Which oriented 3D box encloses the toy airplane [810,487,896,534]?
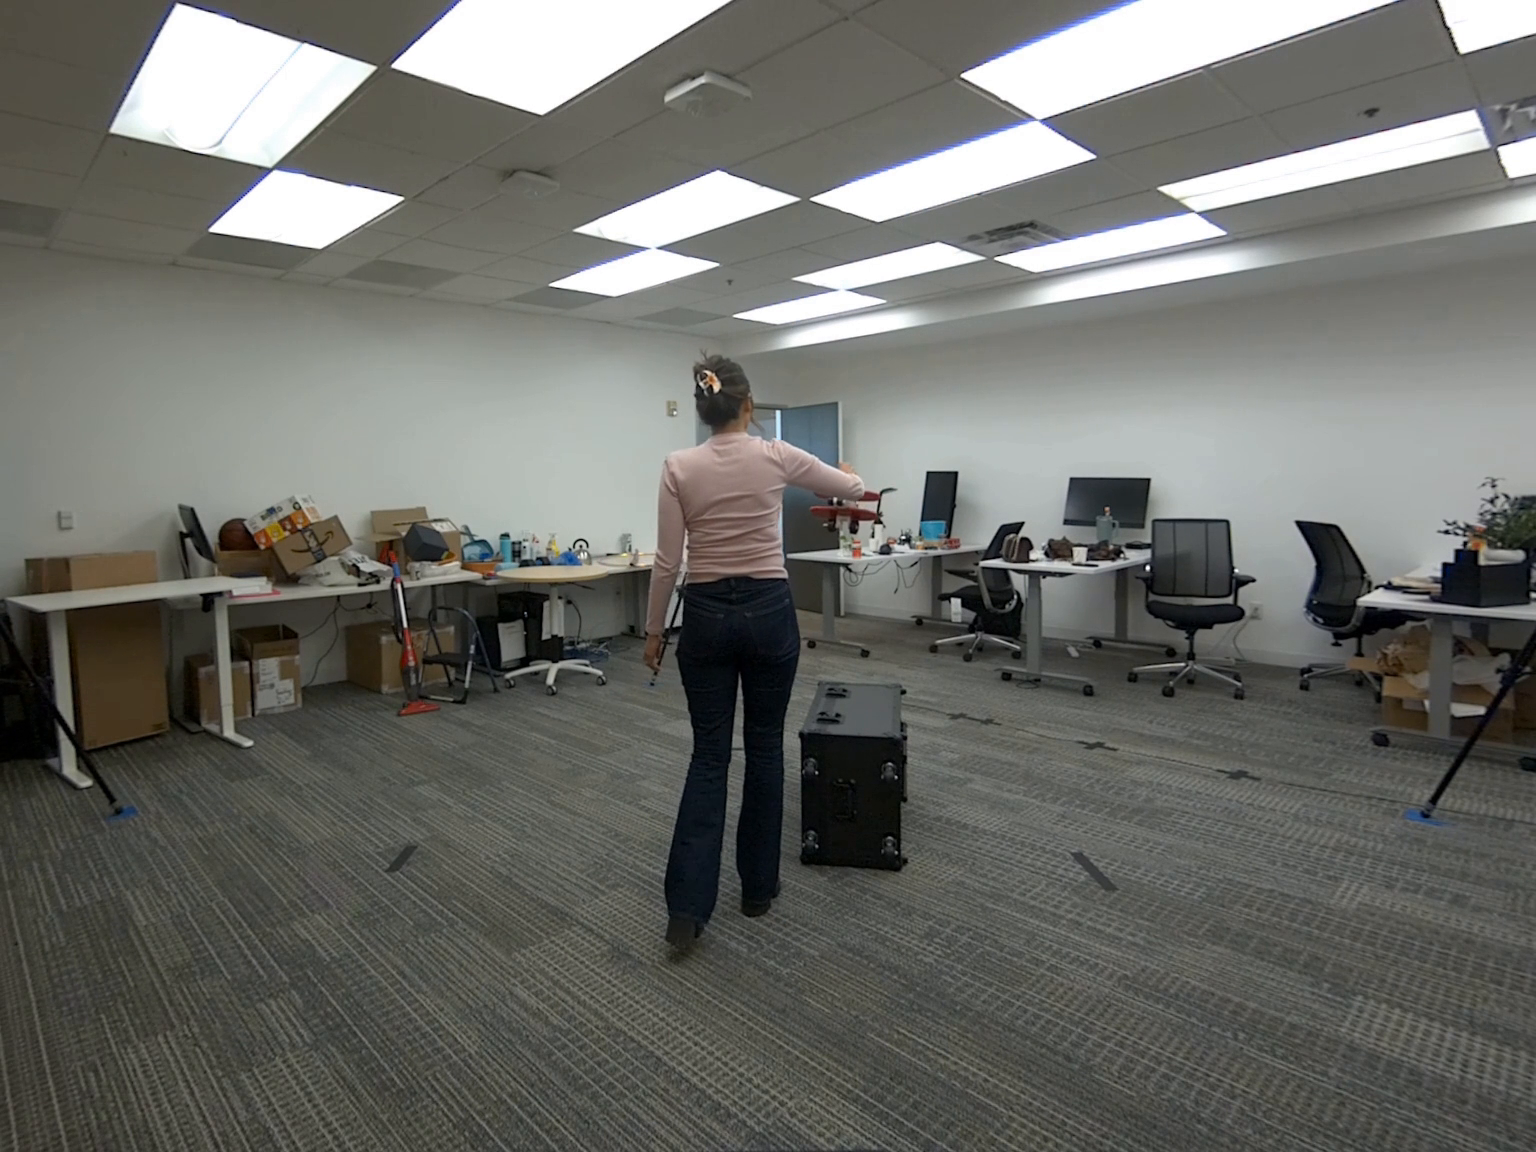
[{"bbox_3d":[0.299,-0.270,3.197,0.250,0.159,0.257,20,-30,-5],"label":"toy airplane"}]
